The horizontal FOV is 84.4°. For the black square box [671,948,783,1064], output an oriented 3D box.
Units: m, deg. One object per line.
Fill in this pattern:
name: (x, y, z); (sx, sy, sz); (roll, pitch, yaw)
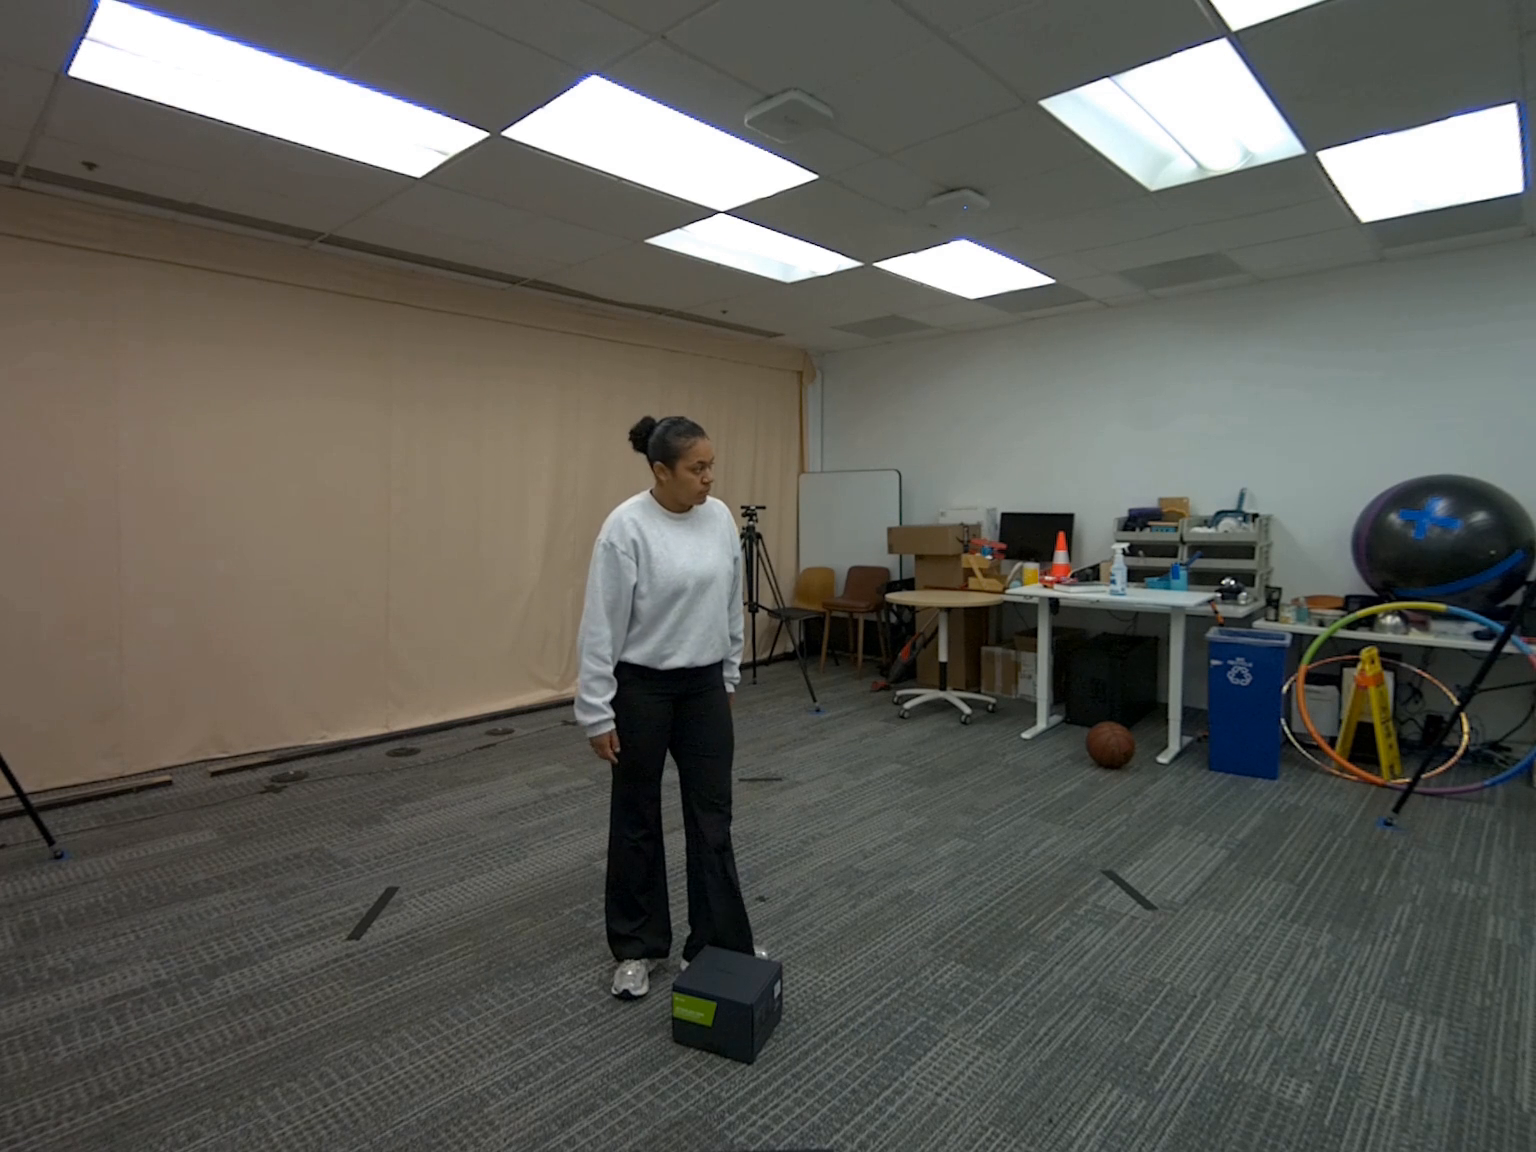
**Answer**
black square box: (-0.102, 1.125, 2.229); (0.233, 0.155, 0.212); (1, 4, 24)
